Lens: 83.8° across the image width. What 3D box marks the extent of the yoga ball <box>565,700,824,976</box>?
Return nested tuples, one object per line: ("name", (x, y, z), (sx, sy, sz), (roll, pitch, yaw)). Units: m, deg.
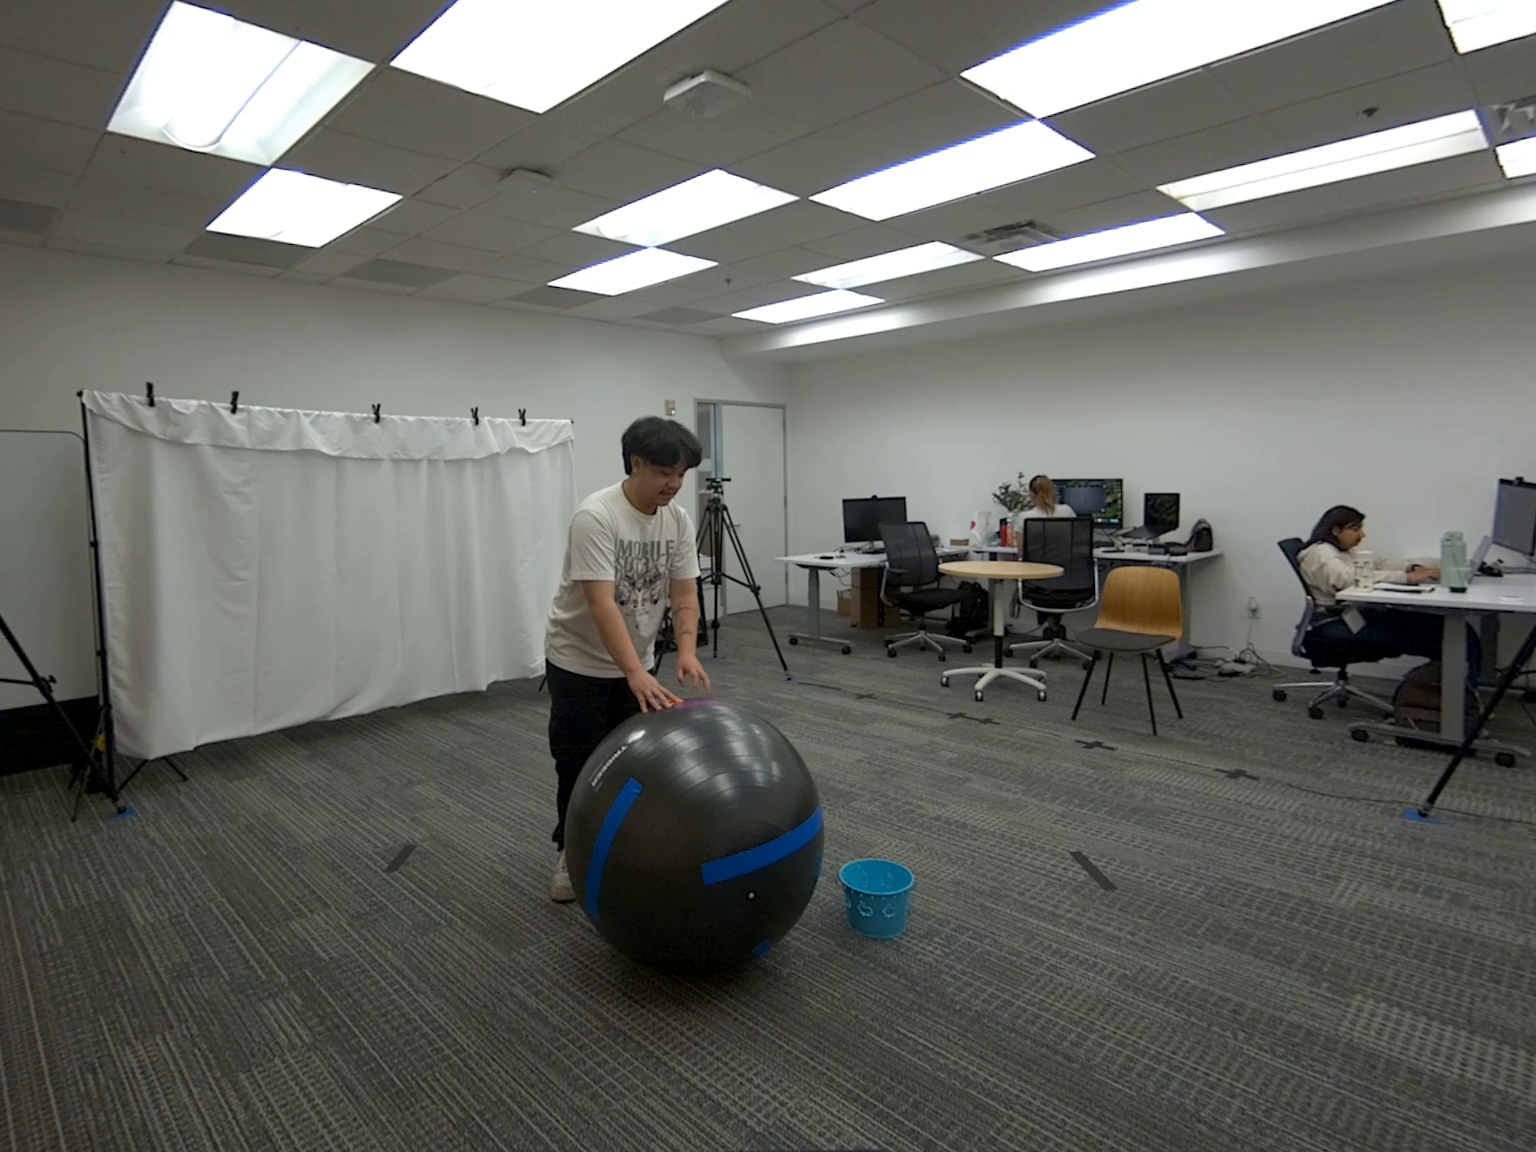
("yoga ball", (-0.211, 0.755, 2.490), (0.757, 0.755, 0.762), (-1, 5, -2))
